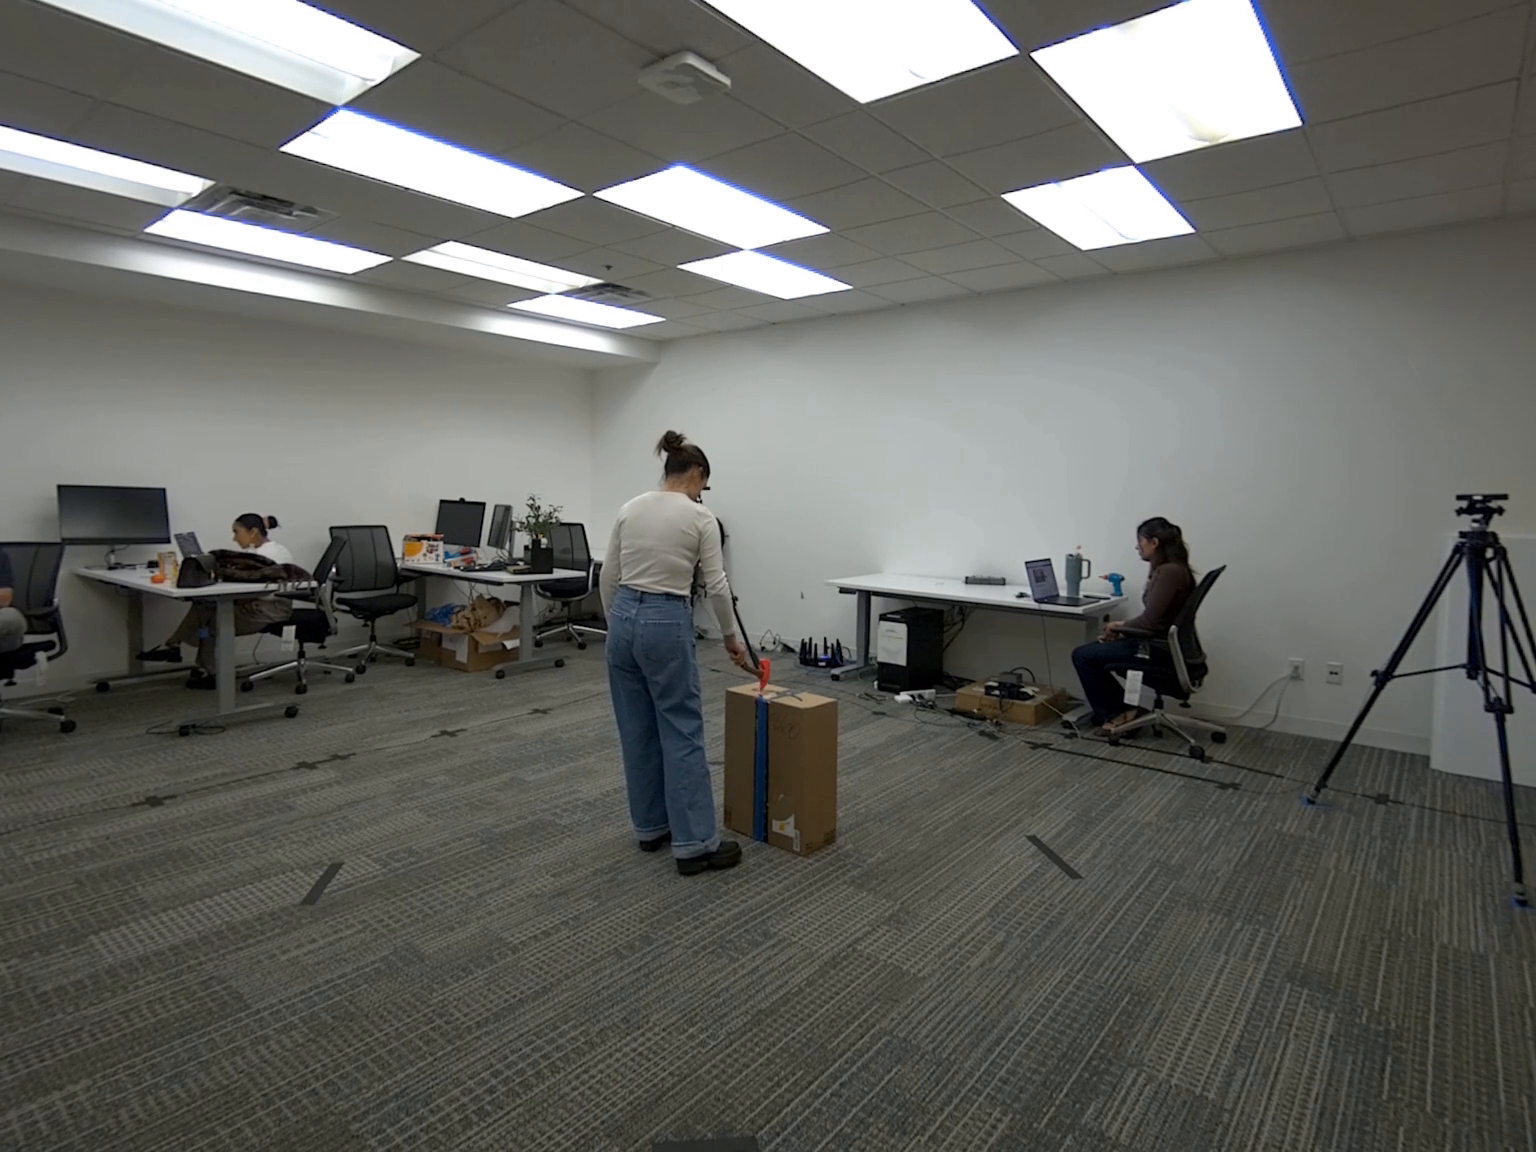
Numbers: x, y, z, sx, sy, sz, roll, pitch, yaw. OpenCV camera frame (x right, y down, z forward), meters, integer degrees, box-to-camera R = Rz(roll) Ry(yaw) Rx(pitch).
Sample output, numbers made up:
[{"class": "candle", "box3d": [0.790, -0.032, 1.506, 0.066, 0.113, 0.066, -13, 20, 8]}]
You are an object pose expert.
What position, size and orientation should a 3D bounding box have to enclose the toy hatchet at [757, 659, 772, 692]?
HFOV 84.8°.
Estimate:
[{"class": "toy hatchet", "box3d": [-0.059, 0.341, 3.416, 0.030, 0.132, 0.259, 5, -35, 39]}]
